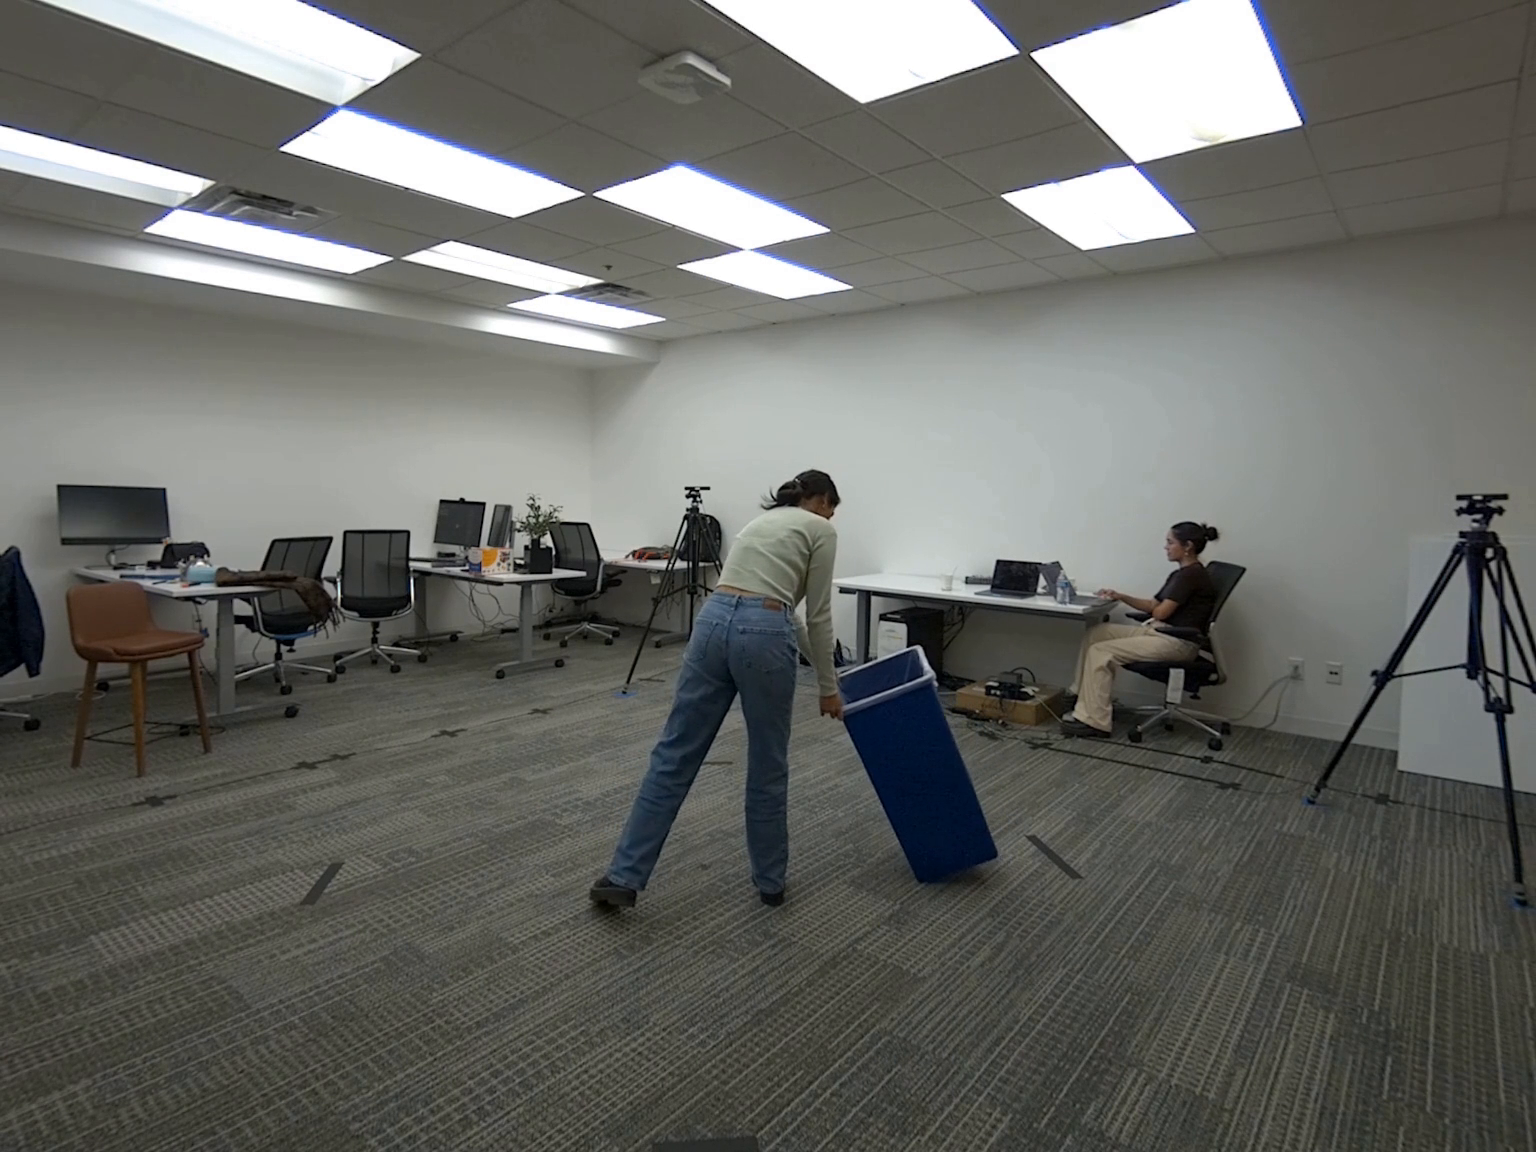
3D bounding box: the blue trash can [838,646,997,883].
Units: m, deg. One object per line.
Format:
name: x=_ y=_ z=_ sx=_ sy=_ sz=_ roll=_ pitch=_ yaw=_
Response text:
blue trash can: x=0.524 y=0.686 z=3.111 sx=0.376 sy=0.708 sz=0.379 roll=-21 pitch=6 yaw=7
